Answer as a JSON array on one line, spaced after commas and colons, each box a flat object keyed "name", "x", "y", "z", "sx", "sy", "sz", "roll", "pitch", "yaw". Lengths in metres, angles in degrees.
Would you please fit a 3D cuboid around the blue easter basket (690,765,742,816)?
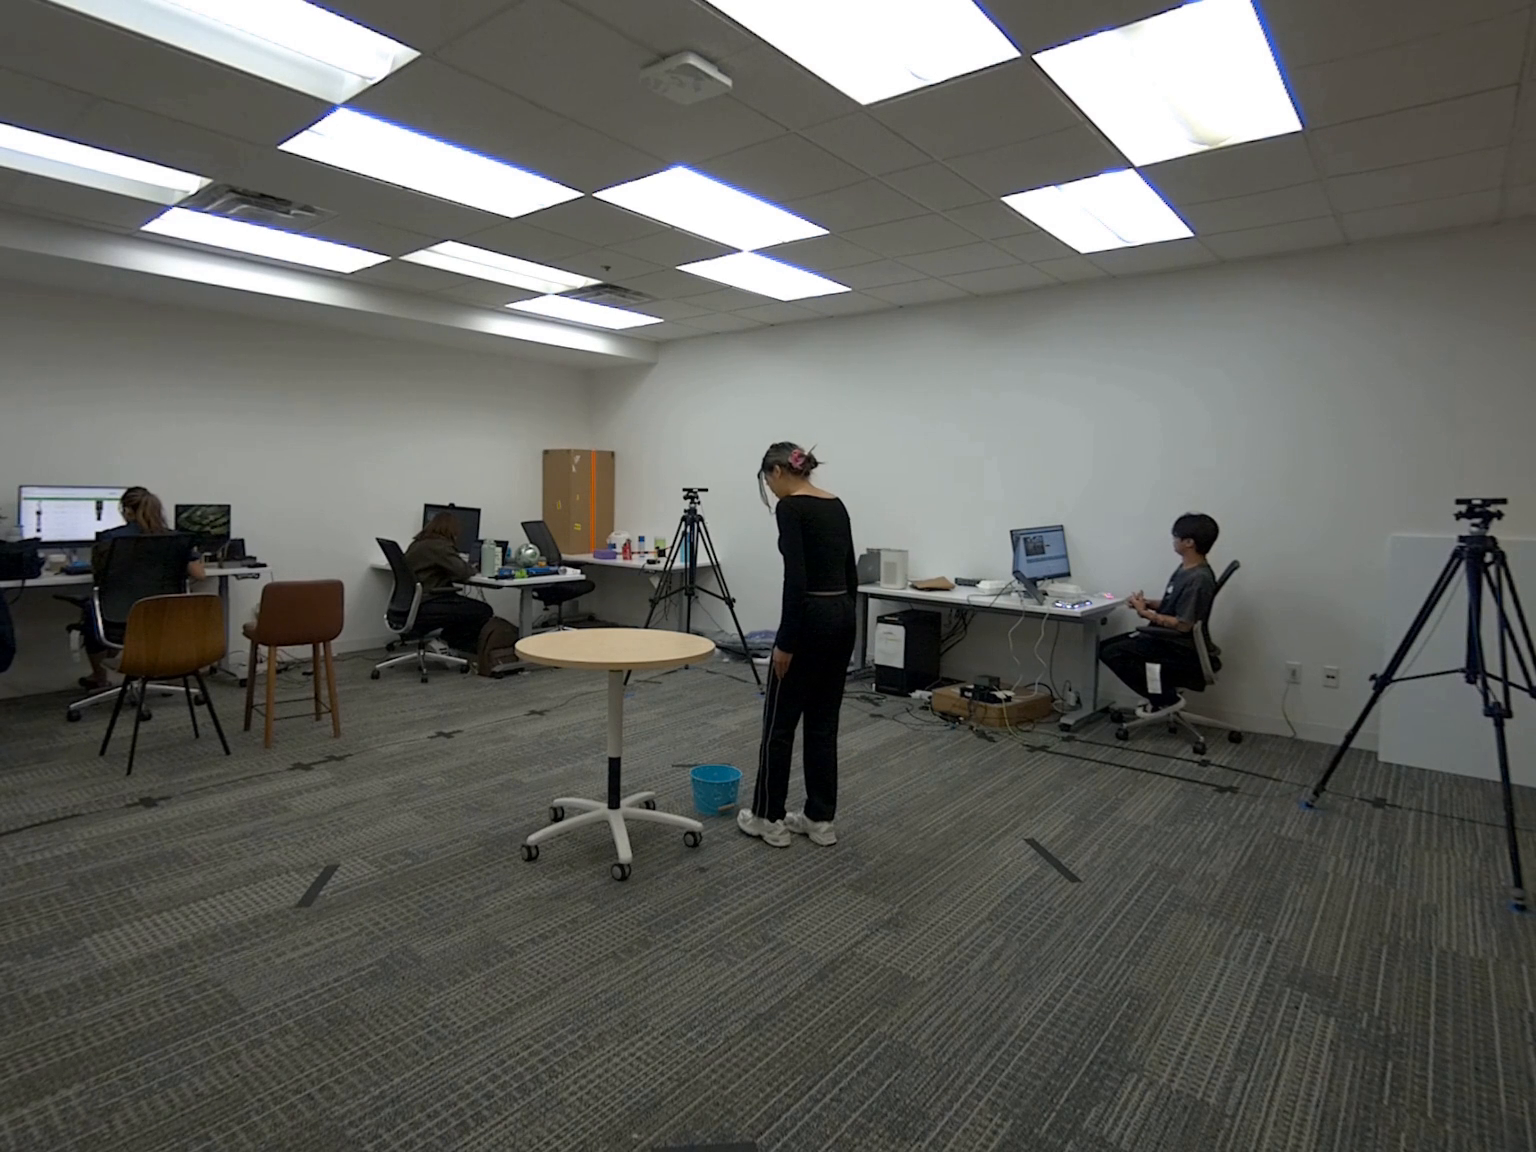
[{"name": "blue easter basket", "x": -0.243, "y": 0.932, "z": 3.718, "sx": 0.243, "sy": 0.155, "sz": 0.245, "roll": 1, "pitch": 5, "yaw": -2}]
